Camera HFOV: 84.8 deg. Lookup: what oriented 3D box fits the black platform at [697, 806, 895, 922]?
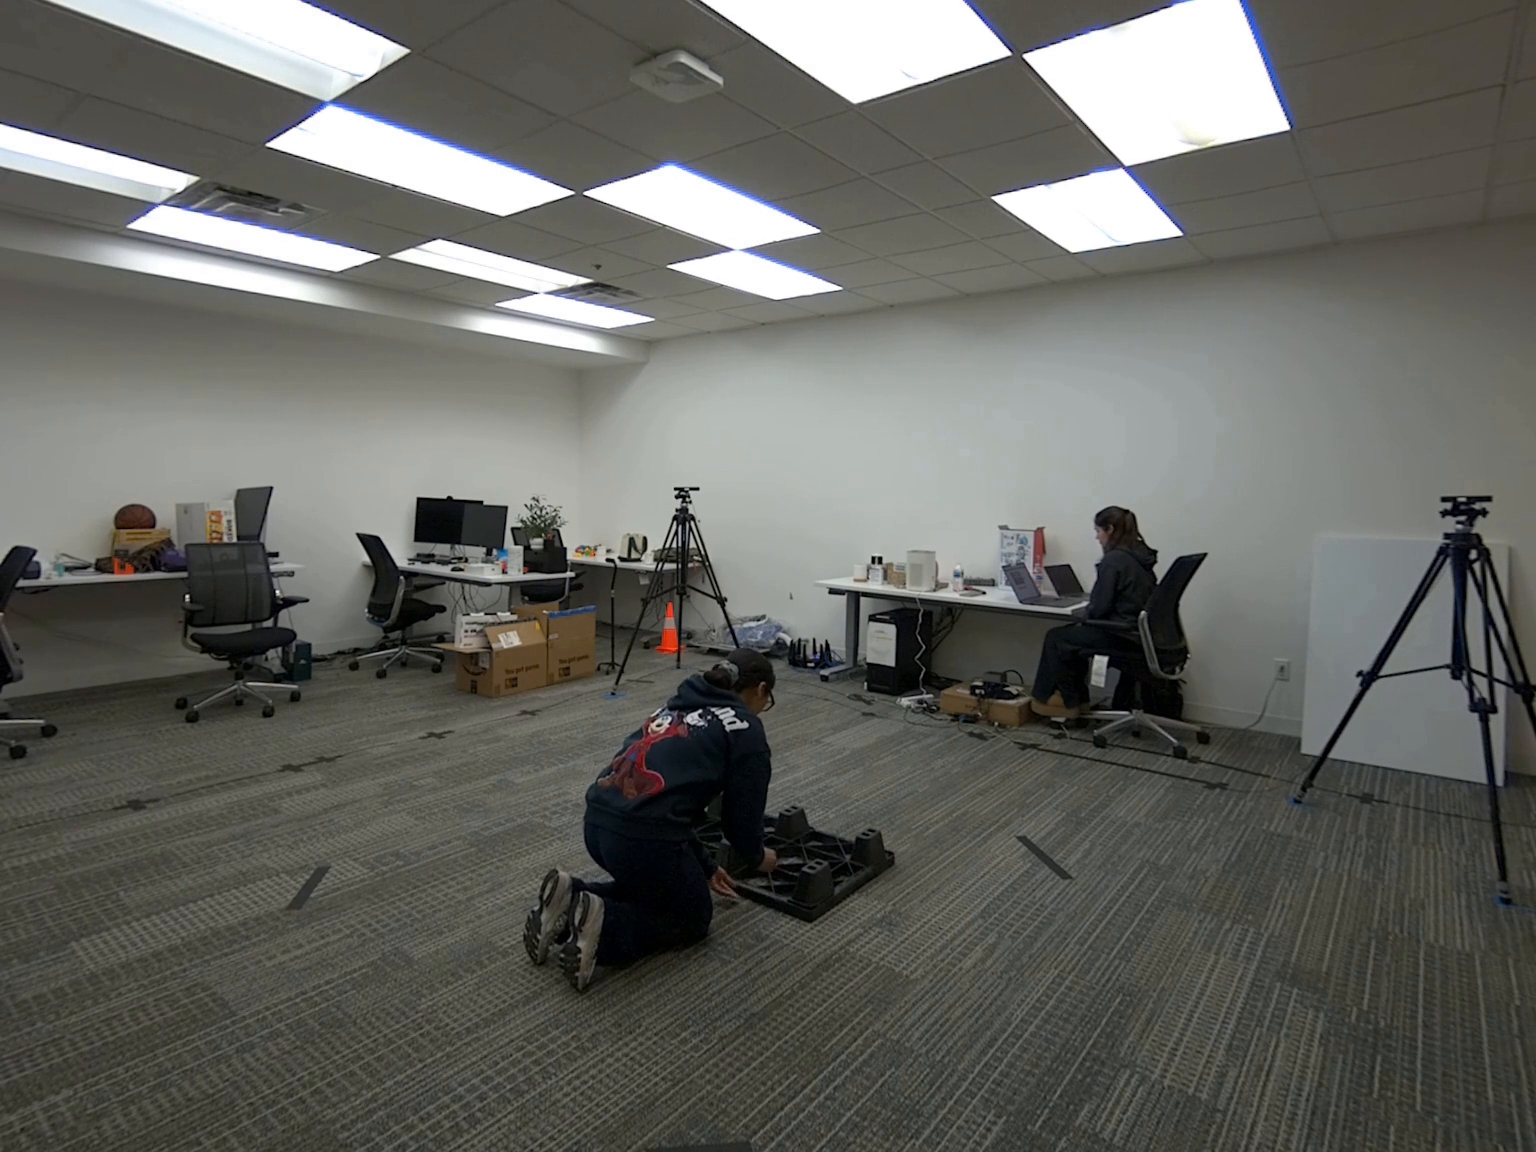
[{"bbox_3d":[-0.018,0.994,3.202,0.832,0.143,0.588,6,8,36],"label":"black platform"}]
